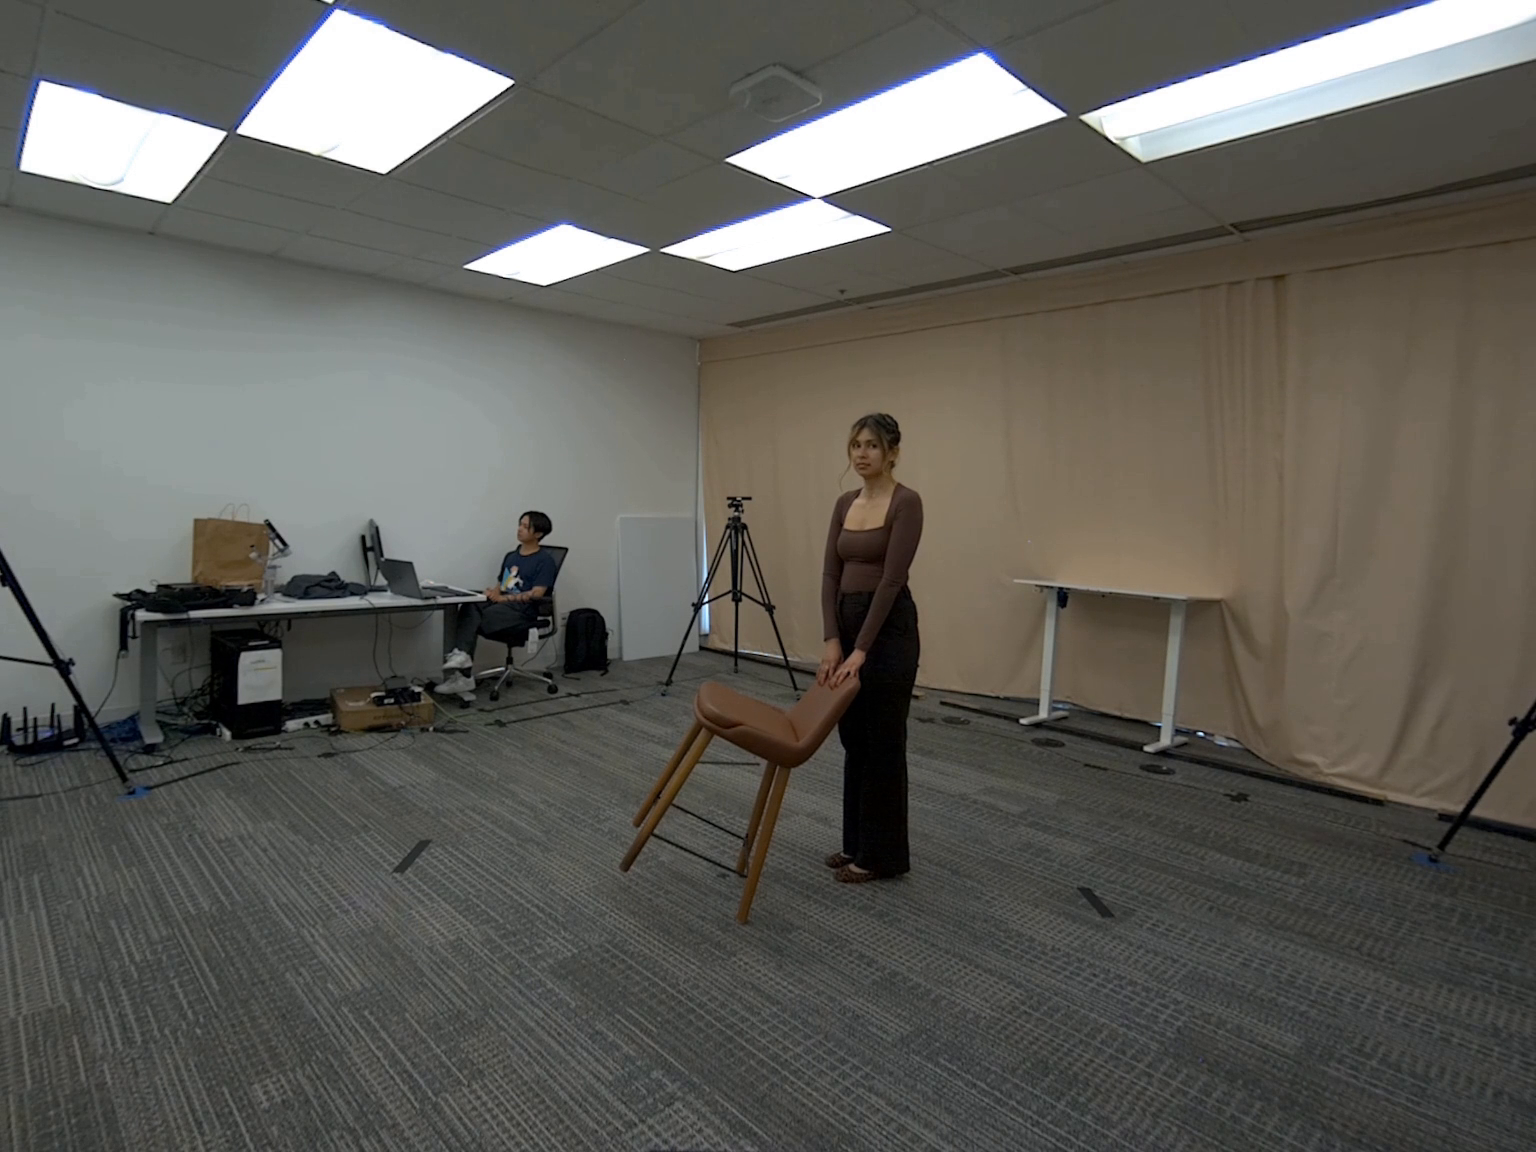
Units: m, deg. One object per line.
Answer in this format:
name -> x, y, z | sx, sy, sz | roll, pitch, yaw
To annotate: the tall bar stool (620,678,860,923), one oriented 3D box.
tall bar stool -> -0.099, 0.642, 2.903 | 0.467, 0.889, 0.458 | 27, 3, -2
